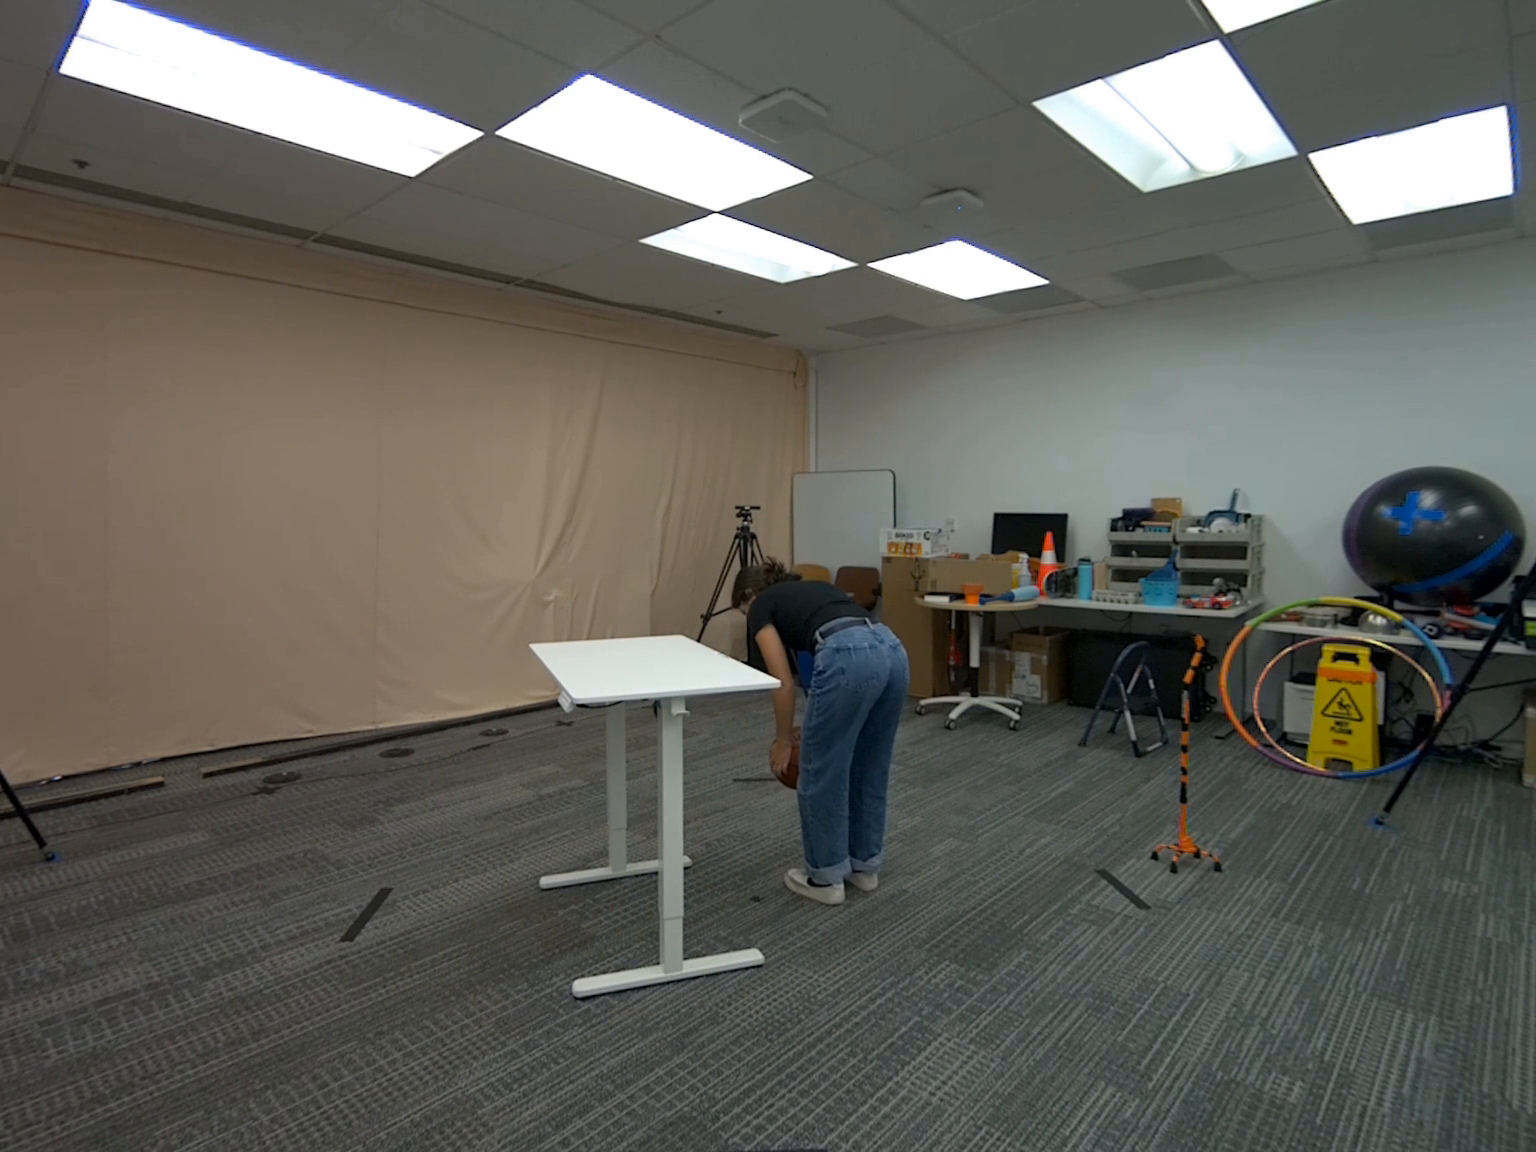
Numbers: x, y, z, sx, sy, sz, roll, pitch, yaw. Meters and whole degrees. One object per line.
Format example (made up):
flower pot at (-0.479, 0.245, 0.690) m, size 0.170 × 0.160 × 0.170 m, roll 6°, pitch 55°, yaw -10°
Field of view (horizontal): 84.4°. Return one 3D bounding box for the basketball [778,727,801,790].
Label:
basketball at (0.128, 0.693, 3.186) m, size 0.236 × 0.235 × 0.237 m, roll 0°, pitch 4°, yaw -2°
